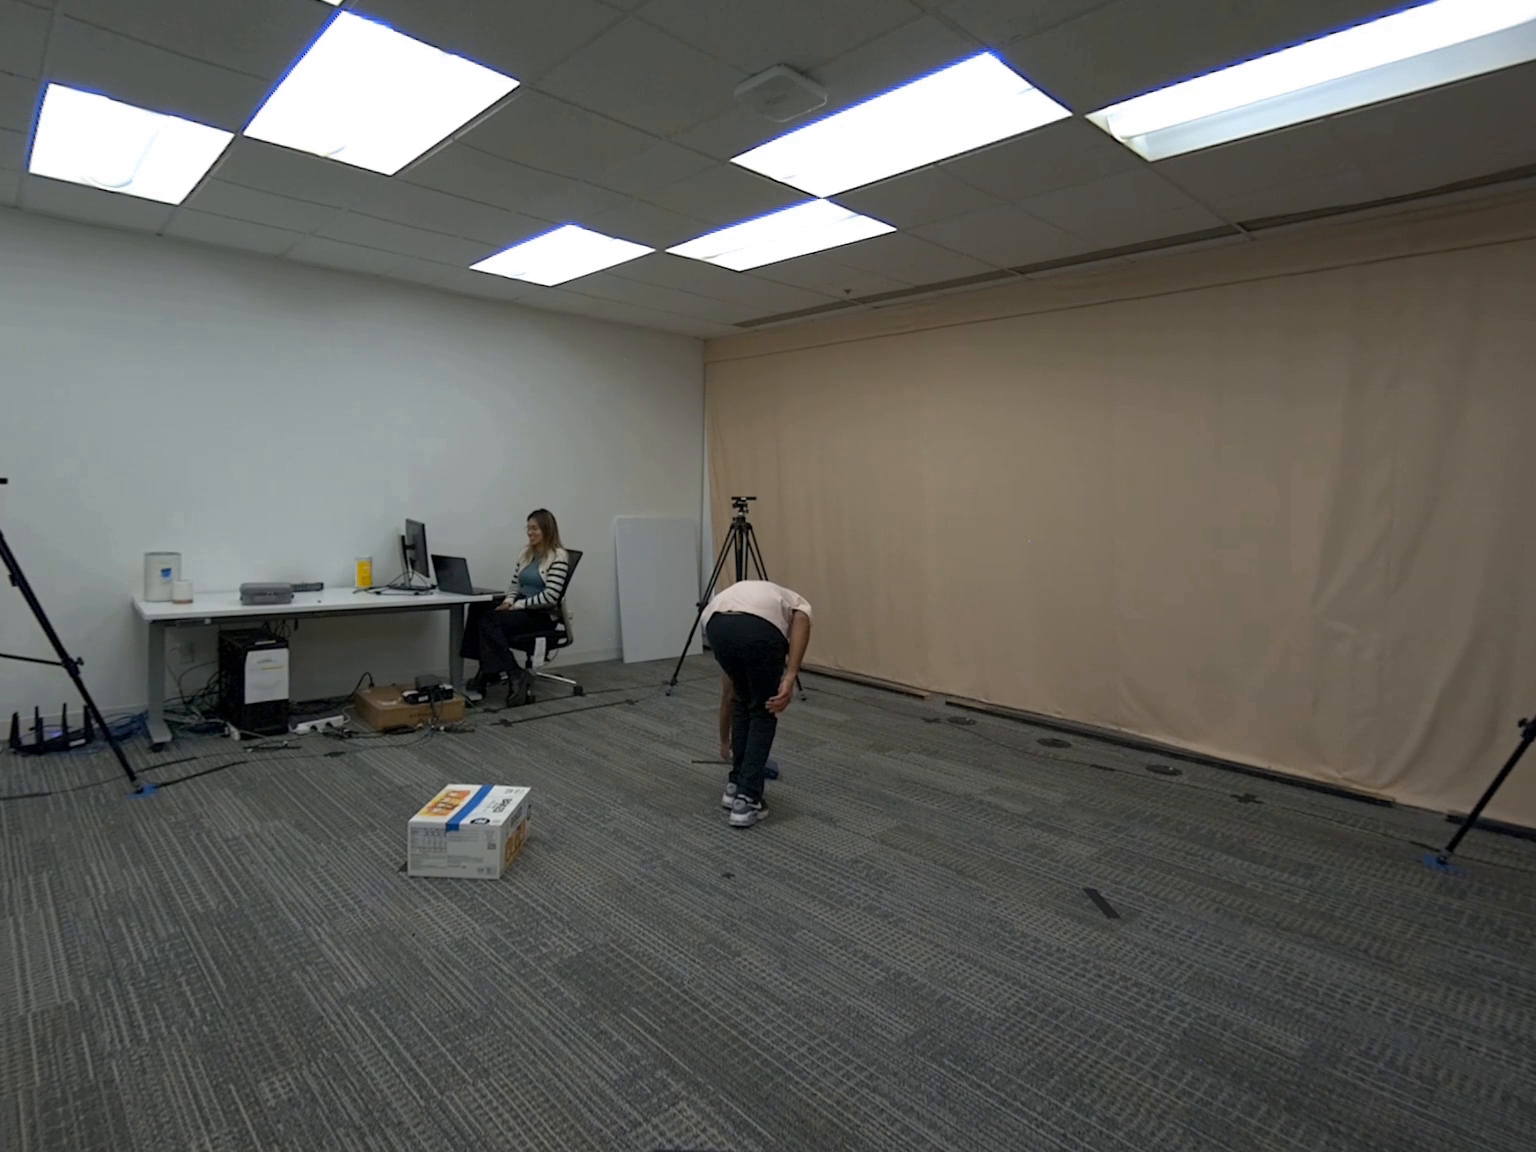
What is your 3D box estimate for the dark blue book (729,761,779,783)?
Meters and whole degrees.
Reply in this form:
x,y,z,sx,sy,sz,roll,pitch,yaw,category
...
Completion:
x,y,z,sx,sy,sz,roll,pitch,yaw,category
-0.078,0.953,4.283,0.245,0.045,0.164,21,3,-2,dark blue book
